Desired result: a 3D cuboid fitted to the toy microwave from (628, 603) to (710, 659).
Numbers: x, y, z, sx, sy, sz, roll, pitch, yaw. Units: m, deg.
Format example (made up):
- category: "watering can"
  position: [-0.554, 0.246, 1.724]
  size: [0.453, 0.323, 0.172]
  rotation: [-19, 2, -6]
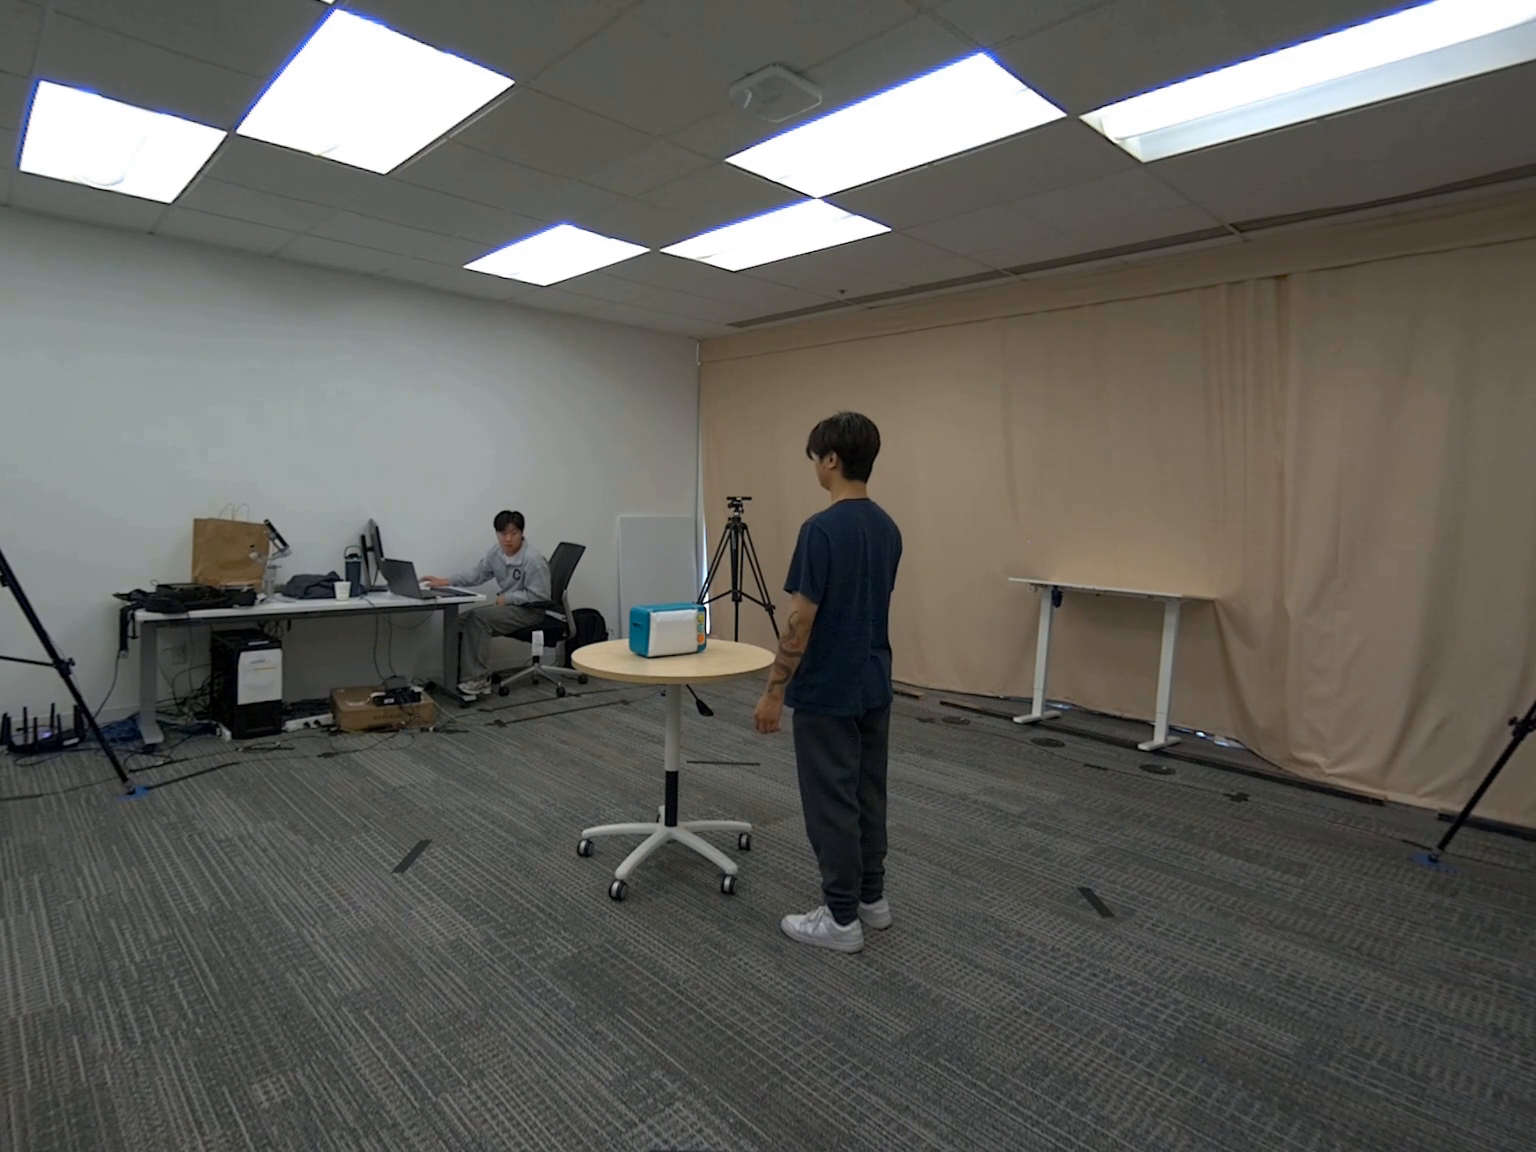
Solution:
- category: "toy microwave"
  position: [-0.378, 0.203, 3.189]
  size: [0.280, 0.183, 0.156]
  rotation: [-2, 5, -38]
